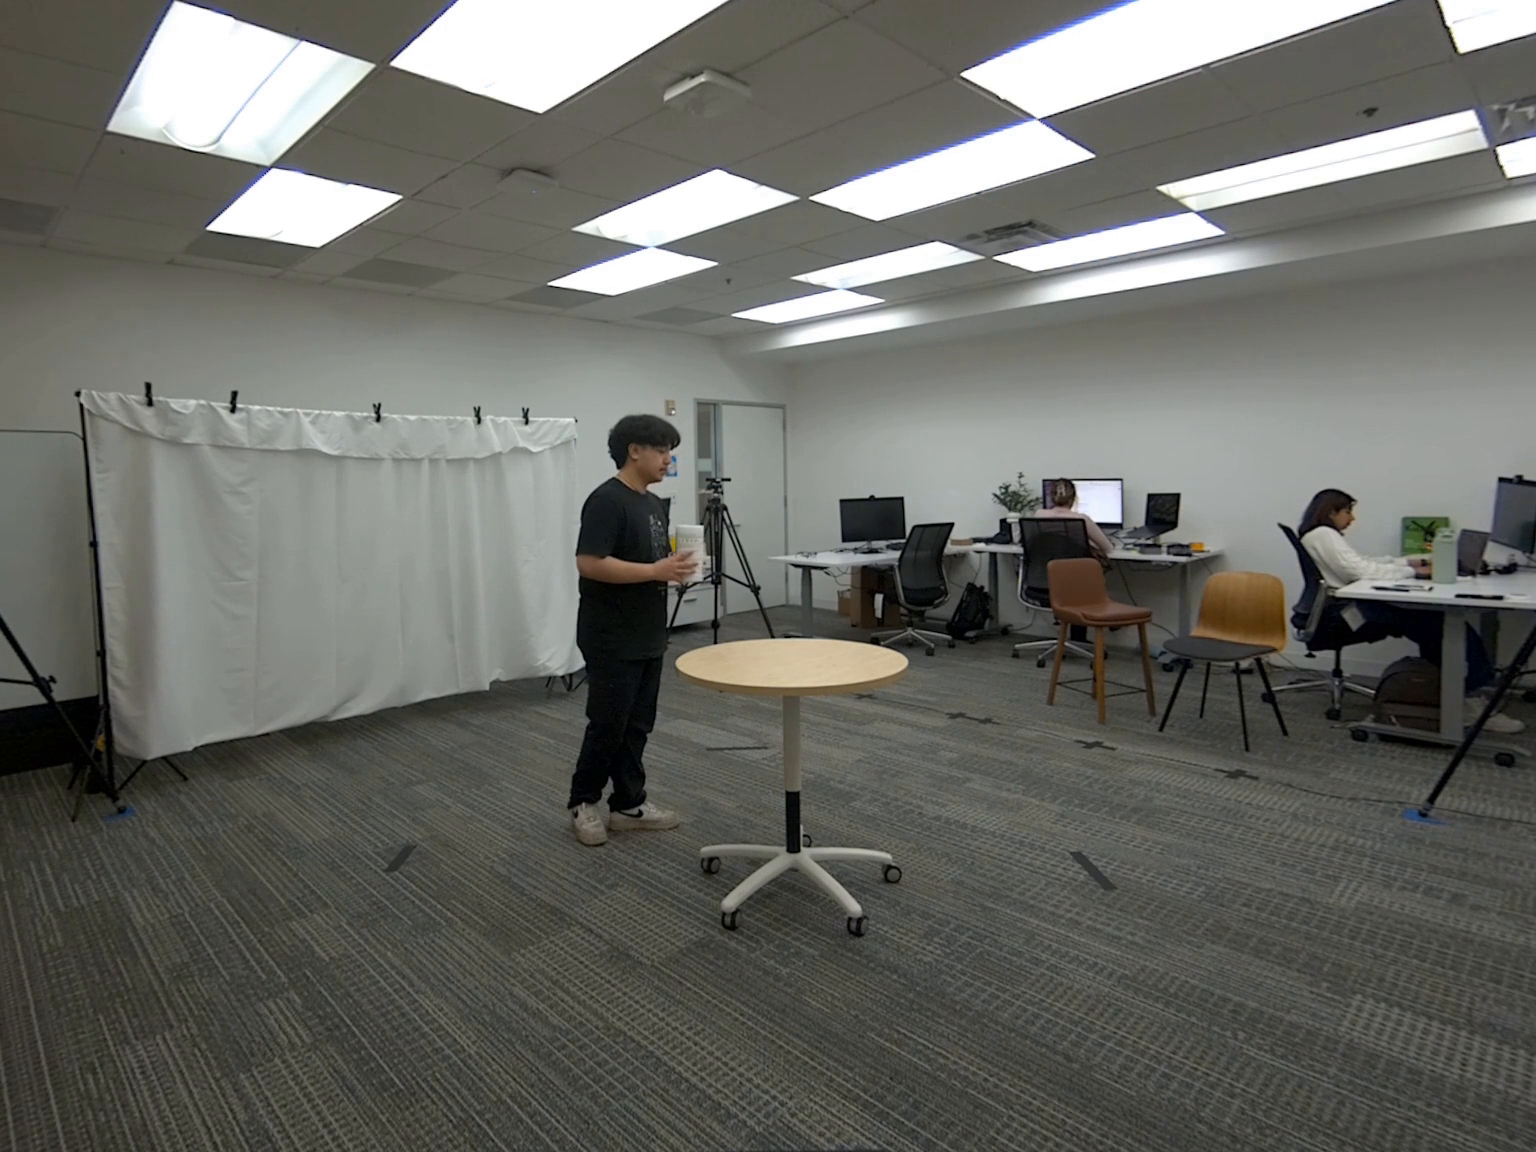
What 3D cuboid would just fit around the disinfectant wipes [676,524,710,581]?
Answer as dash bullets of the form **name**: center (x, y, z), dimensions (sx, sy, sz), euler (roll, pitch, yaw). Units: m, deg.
- **disinfectant wipes**: center (-0.306, -0.085, 3.274), dimensions (0.118, 0.217, 0.118), euler (1, 2, -2)
